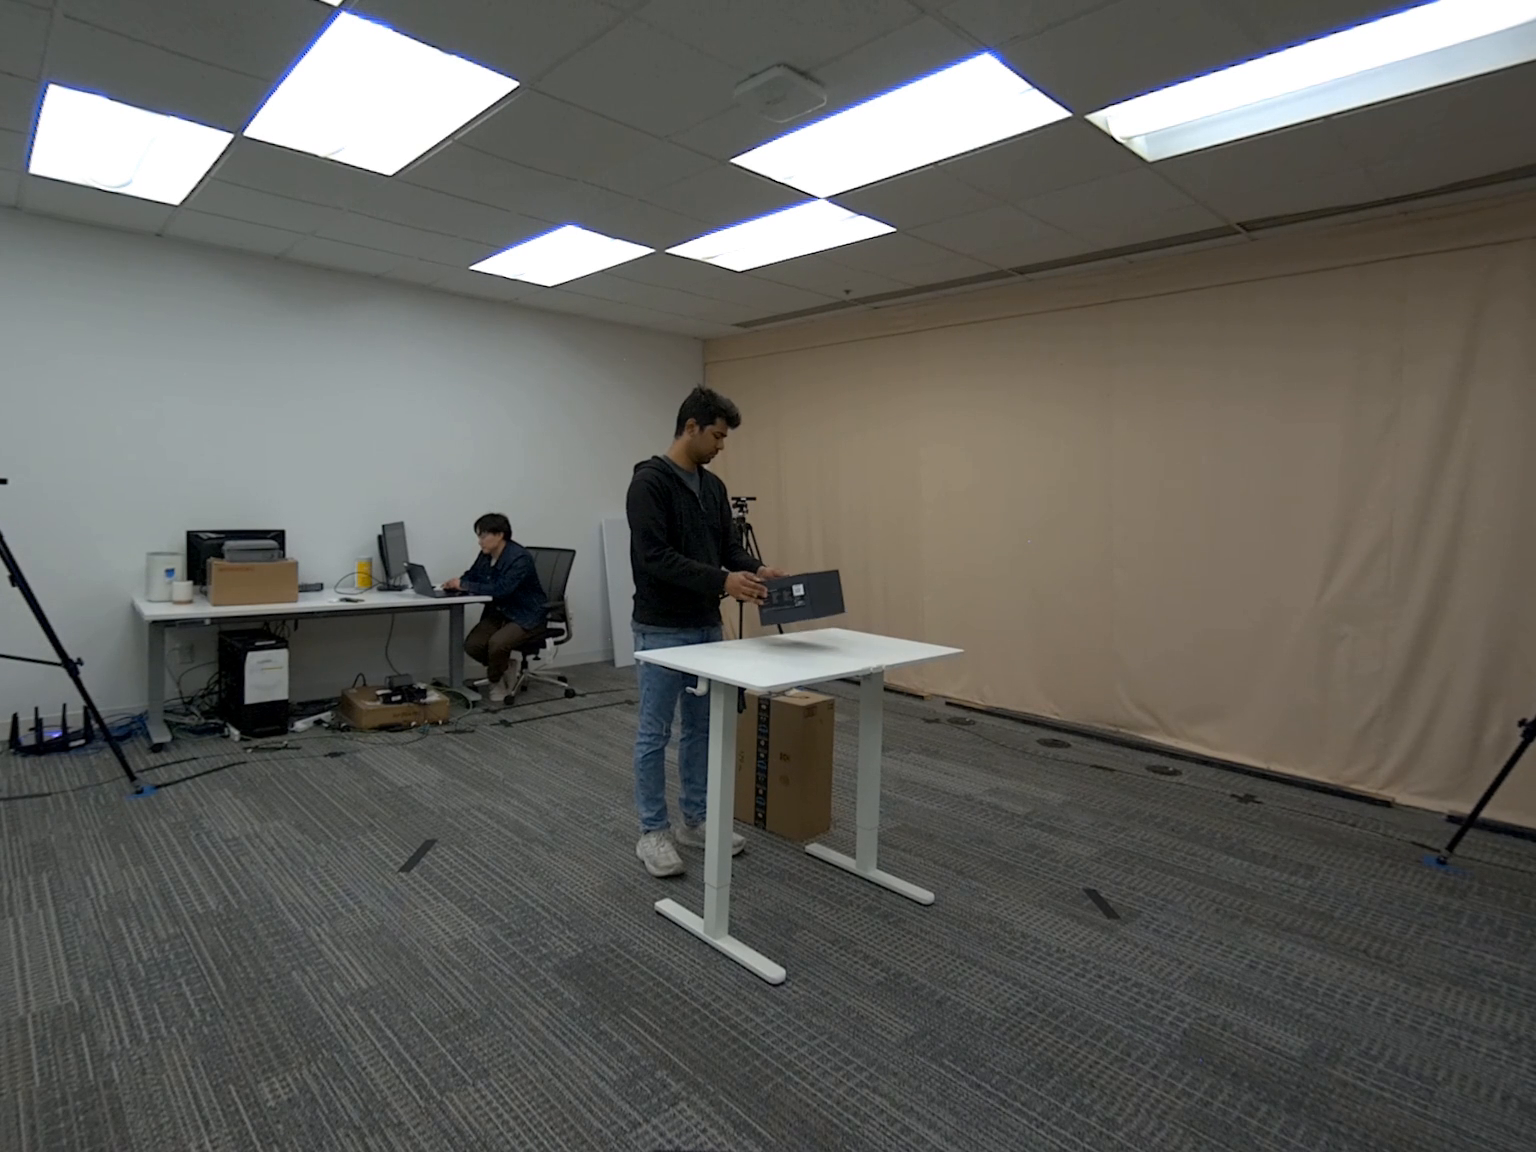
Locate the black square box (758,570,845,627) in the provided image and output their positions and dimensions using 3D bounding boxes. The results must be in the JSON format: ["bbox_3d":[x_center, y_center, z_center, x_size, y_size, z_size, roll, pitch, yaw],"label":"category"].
[{"bbox_3d":[0.105,0.081,2.940,0.221,0.156,0.223,-10,-3,33],"label":"black square box"}]
